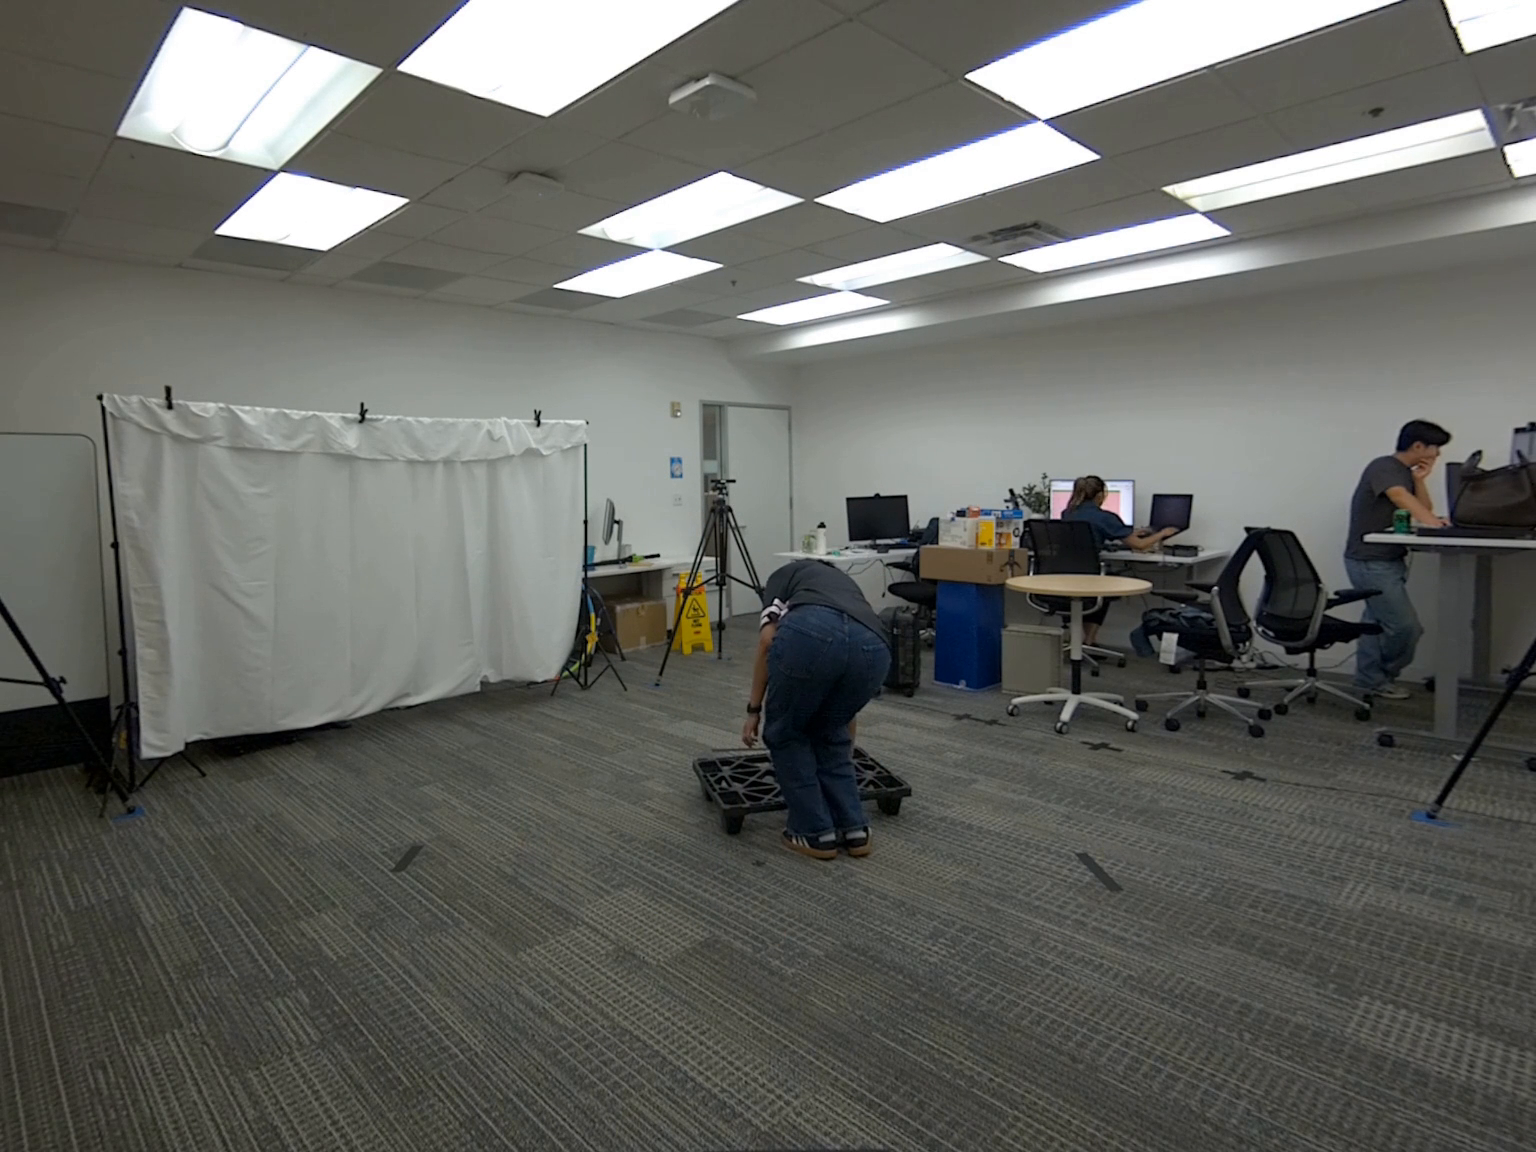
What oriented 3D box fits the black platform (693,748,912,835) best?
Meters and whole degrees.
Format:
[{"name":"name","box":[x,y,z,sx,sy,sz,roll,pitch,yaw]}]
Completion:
[{"name":"black platform","box":[0.125,0.907,3.669,0.795,0.142,0.616,-3,6,-14]}]
